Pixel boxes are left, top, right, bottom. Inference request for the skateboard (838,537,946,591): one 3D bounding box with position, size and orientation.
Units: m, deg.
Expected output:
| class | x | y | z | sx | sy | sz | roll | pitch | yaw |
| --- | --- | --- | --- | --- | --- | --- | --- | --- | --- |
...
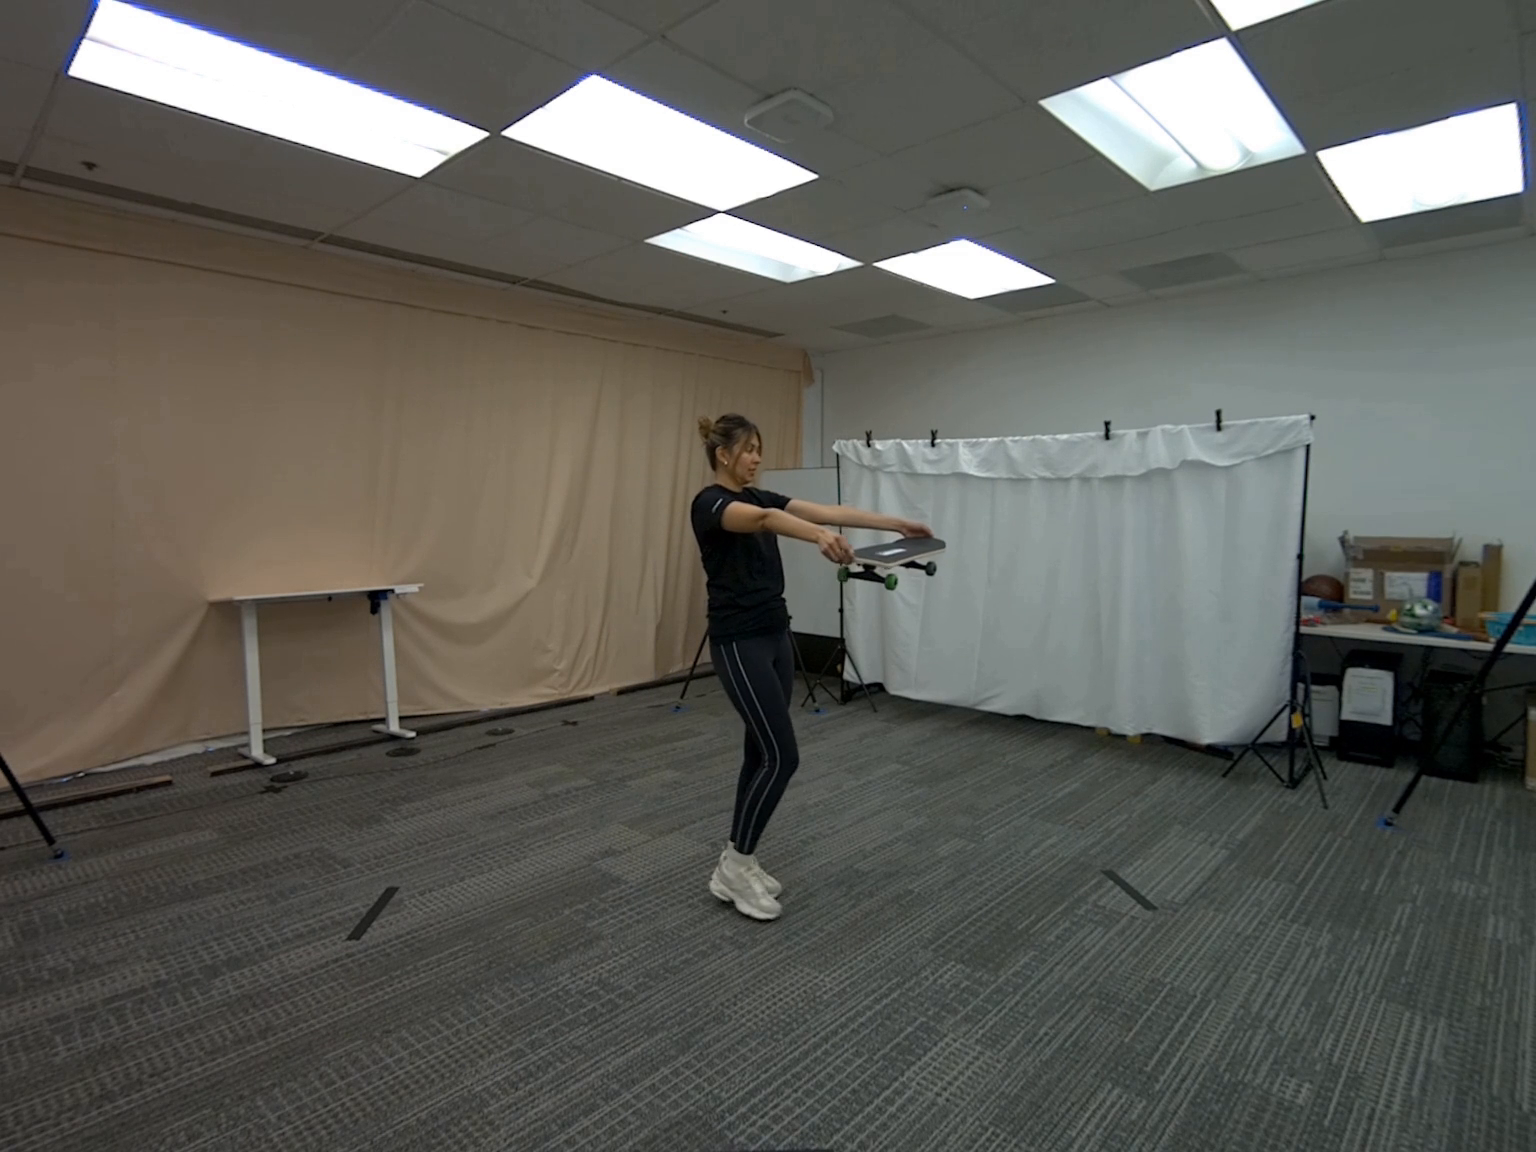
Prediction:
| class | x | y | z | sx | sy | sz | roll | pitch | yaw |
| --- | --- | --- | --- | --- | --- | --- | --- | --- | --- |
| skateboard | 0.405 | -0.041 | 2.730 | 0.199 | 0.110 | 0.766 | 8 | 11 | 28 |
